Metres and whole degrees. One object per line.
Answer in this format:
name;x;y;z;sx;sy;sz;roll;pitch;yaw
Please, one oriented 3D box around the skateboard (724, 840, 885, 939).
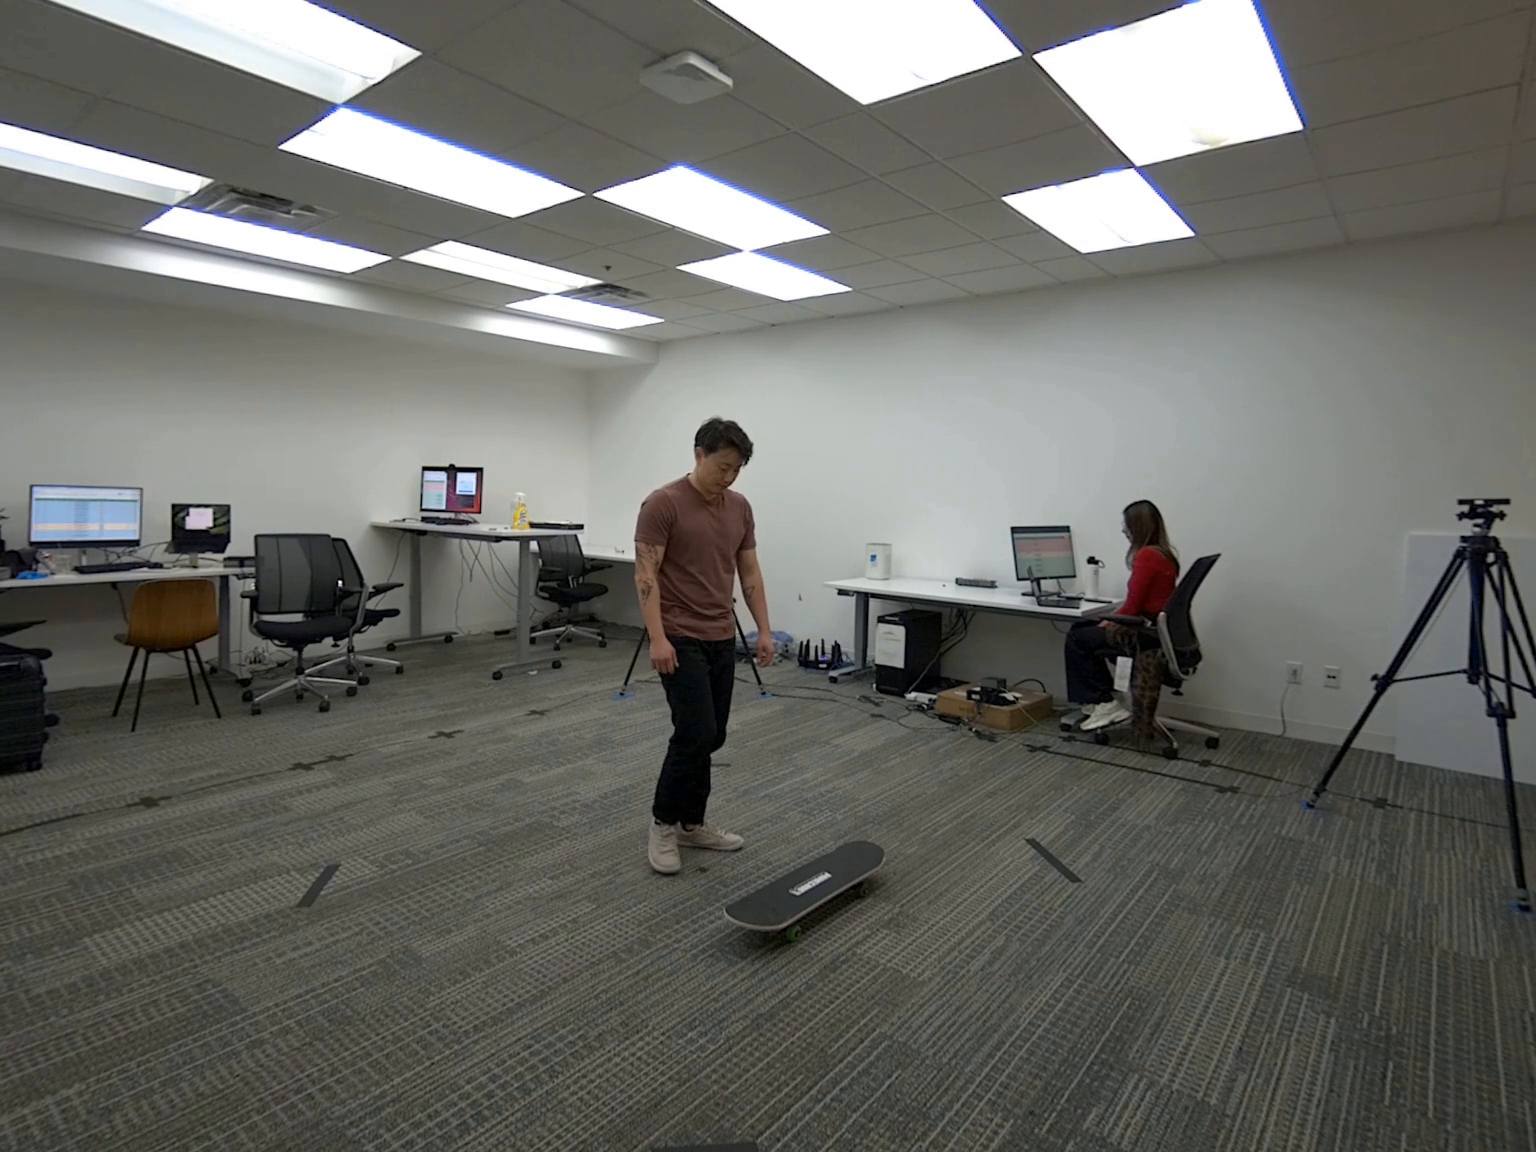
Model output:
skateboard;0.142;1.050;2.823;0.200;0.110;0.762;7;8;39
